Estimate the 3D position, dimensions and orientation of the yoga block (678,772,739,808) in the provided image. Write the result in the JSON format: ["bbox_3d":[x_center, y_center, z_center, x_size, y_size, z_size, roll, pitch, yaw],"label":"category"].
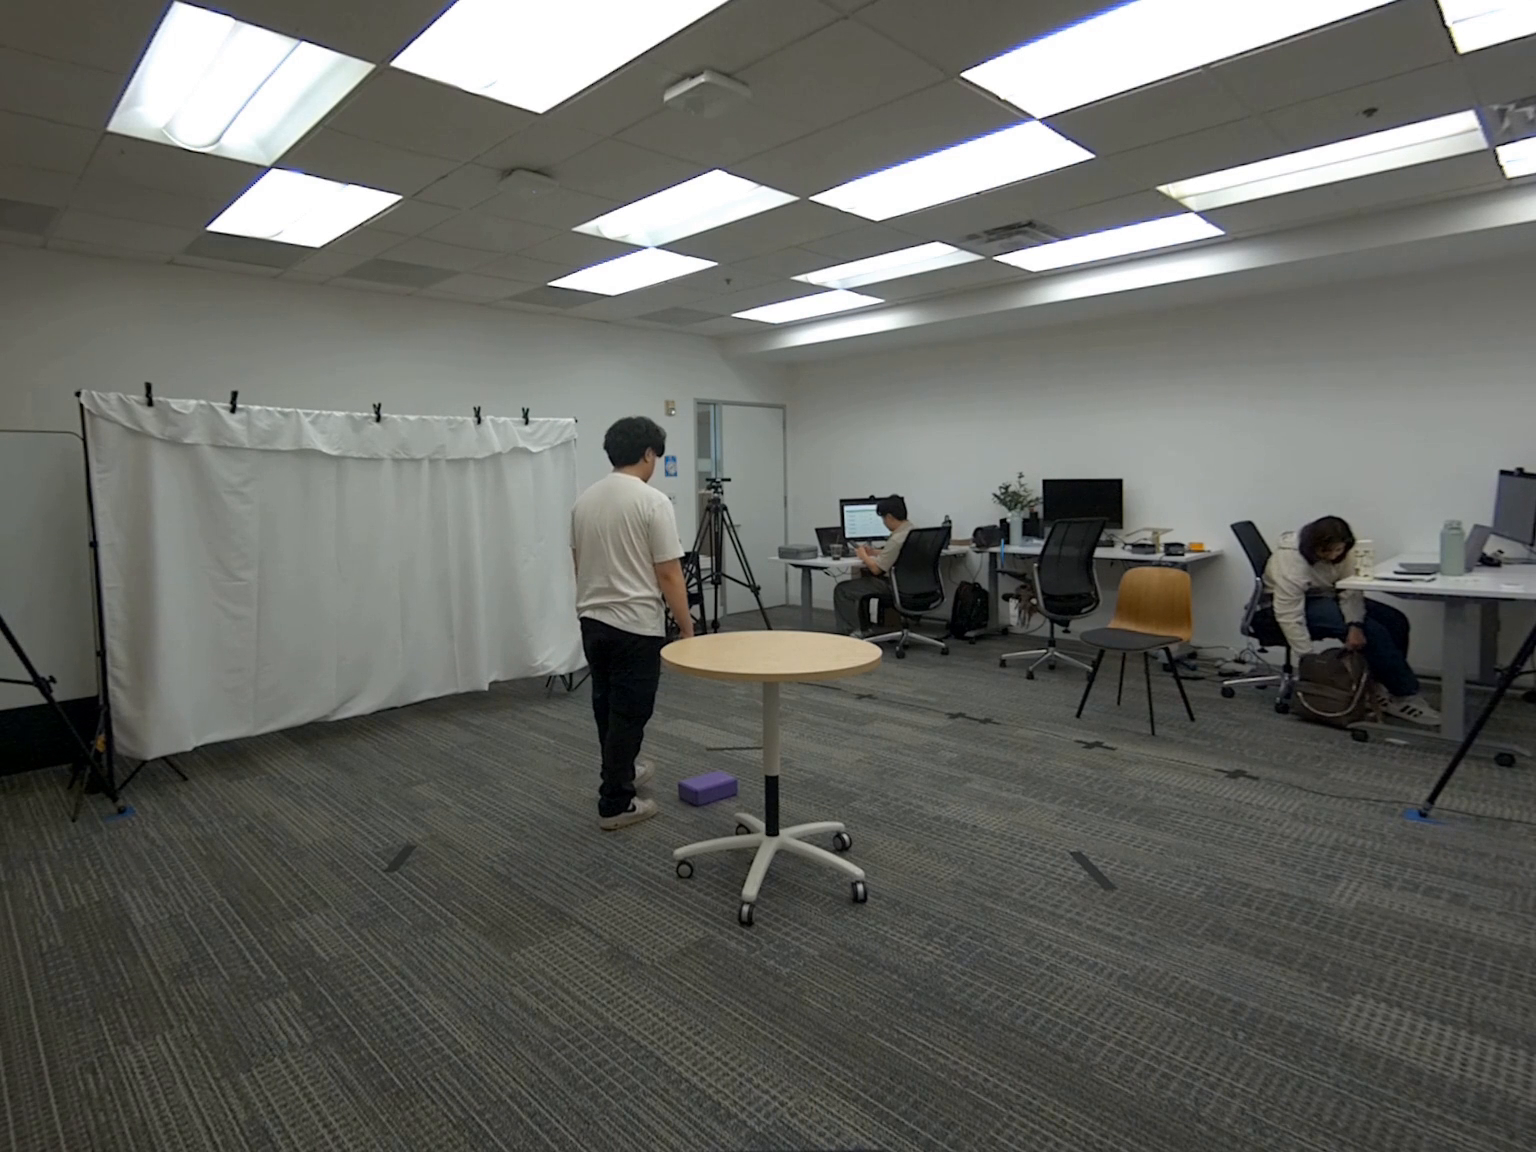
[{"bbox_3d":[-0.265,0.930,3.761,0.223,0.076,0.153,-5,7,-40],"label":"yoga block"}]
